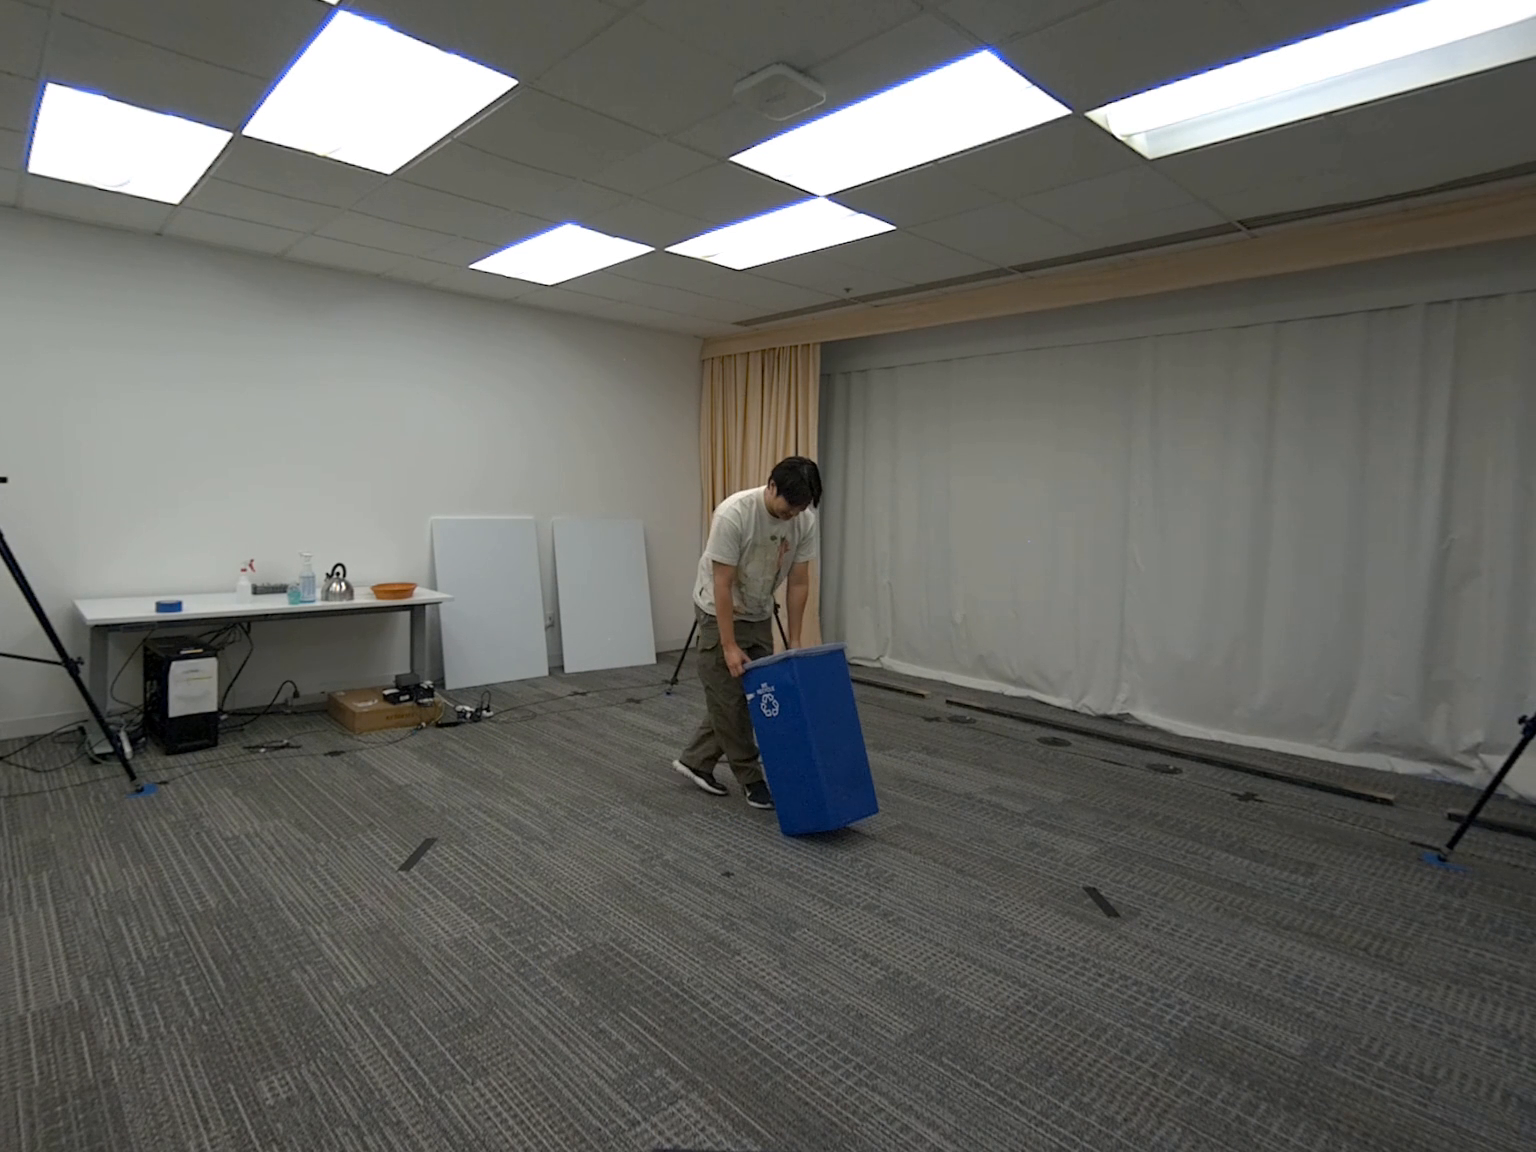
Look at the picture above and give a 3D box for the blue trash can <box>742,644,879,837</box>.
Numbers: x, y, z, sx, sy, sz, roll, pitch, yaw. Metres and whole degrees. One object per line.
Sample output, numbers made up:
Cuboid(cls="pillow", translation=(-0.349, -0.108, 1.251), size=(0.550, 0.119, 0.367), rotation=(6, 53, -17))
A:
Cuboid(cls="blue trash can", translation=(0.173, 0.679, 3.554), size=(0.369, 0.721, 0.378), rotation=(-2, -16, -44))
